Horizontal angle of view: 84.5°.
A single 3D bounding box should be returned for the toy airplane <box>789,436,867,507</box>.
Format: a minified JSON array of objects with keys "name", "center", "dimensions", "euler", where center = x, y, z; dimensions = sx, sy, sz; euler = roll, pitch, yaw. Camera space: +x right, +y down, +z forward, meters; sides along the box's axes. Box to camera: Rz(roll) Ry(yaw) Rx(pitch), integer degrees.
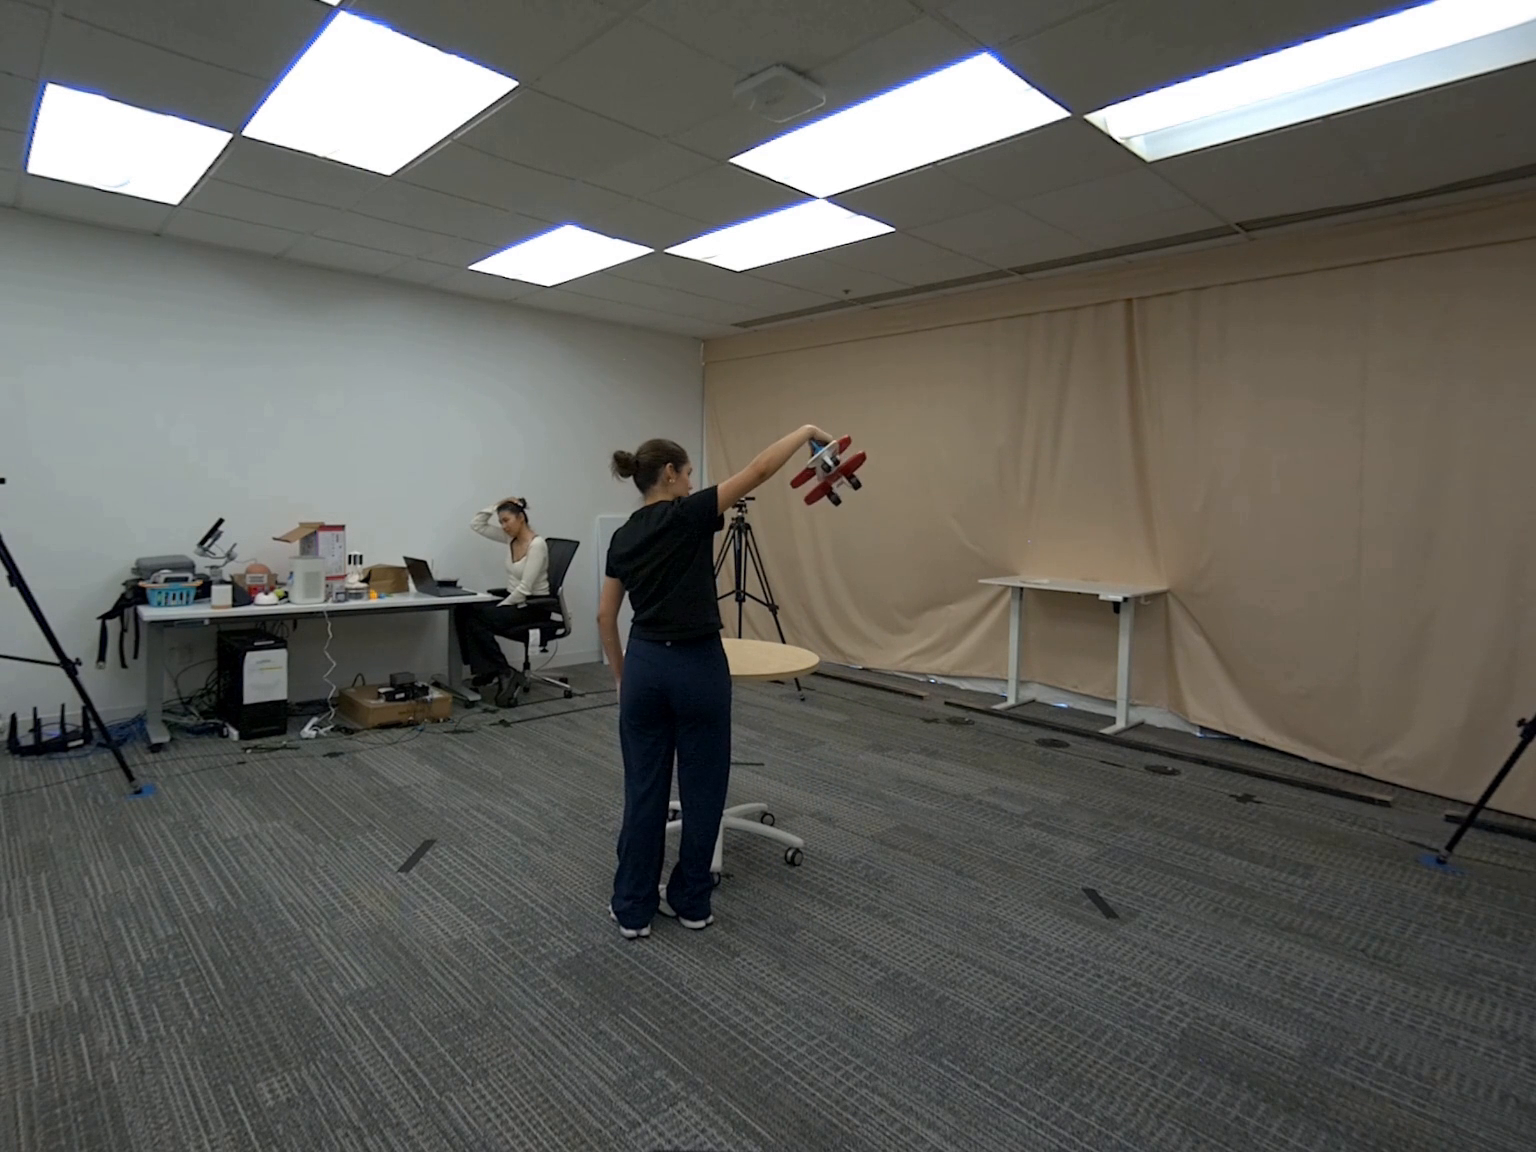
[{"name":"toy airplane","center":[0.210,-0.354,2.730],"dimensions":[0.249,0.254,0.161],"euler":[-23,54,-22]}]
